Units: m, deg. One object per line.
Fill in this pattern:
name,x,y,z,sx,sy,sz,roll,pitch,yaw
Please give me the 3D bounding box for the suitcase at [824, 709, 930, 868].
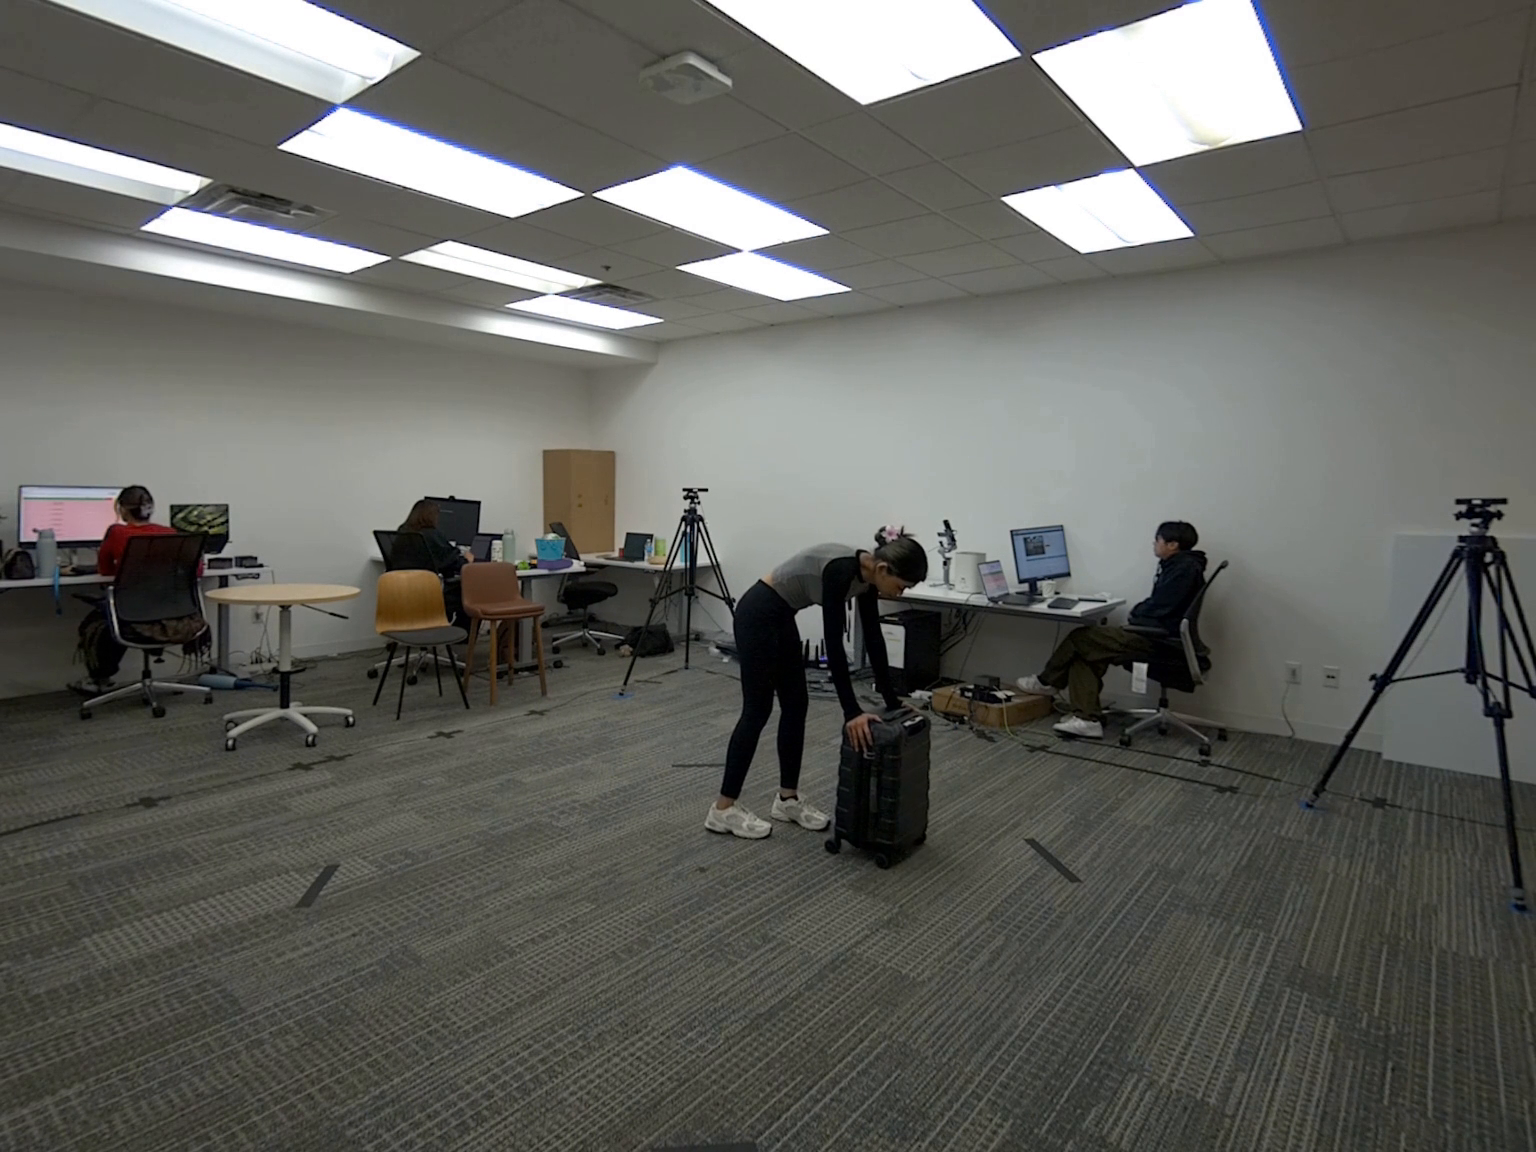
suitcase,0.445,0.790,3.307,0.256,0.547,0.365,6,6,35
